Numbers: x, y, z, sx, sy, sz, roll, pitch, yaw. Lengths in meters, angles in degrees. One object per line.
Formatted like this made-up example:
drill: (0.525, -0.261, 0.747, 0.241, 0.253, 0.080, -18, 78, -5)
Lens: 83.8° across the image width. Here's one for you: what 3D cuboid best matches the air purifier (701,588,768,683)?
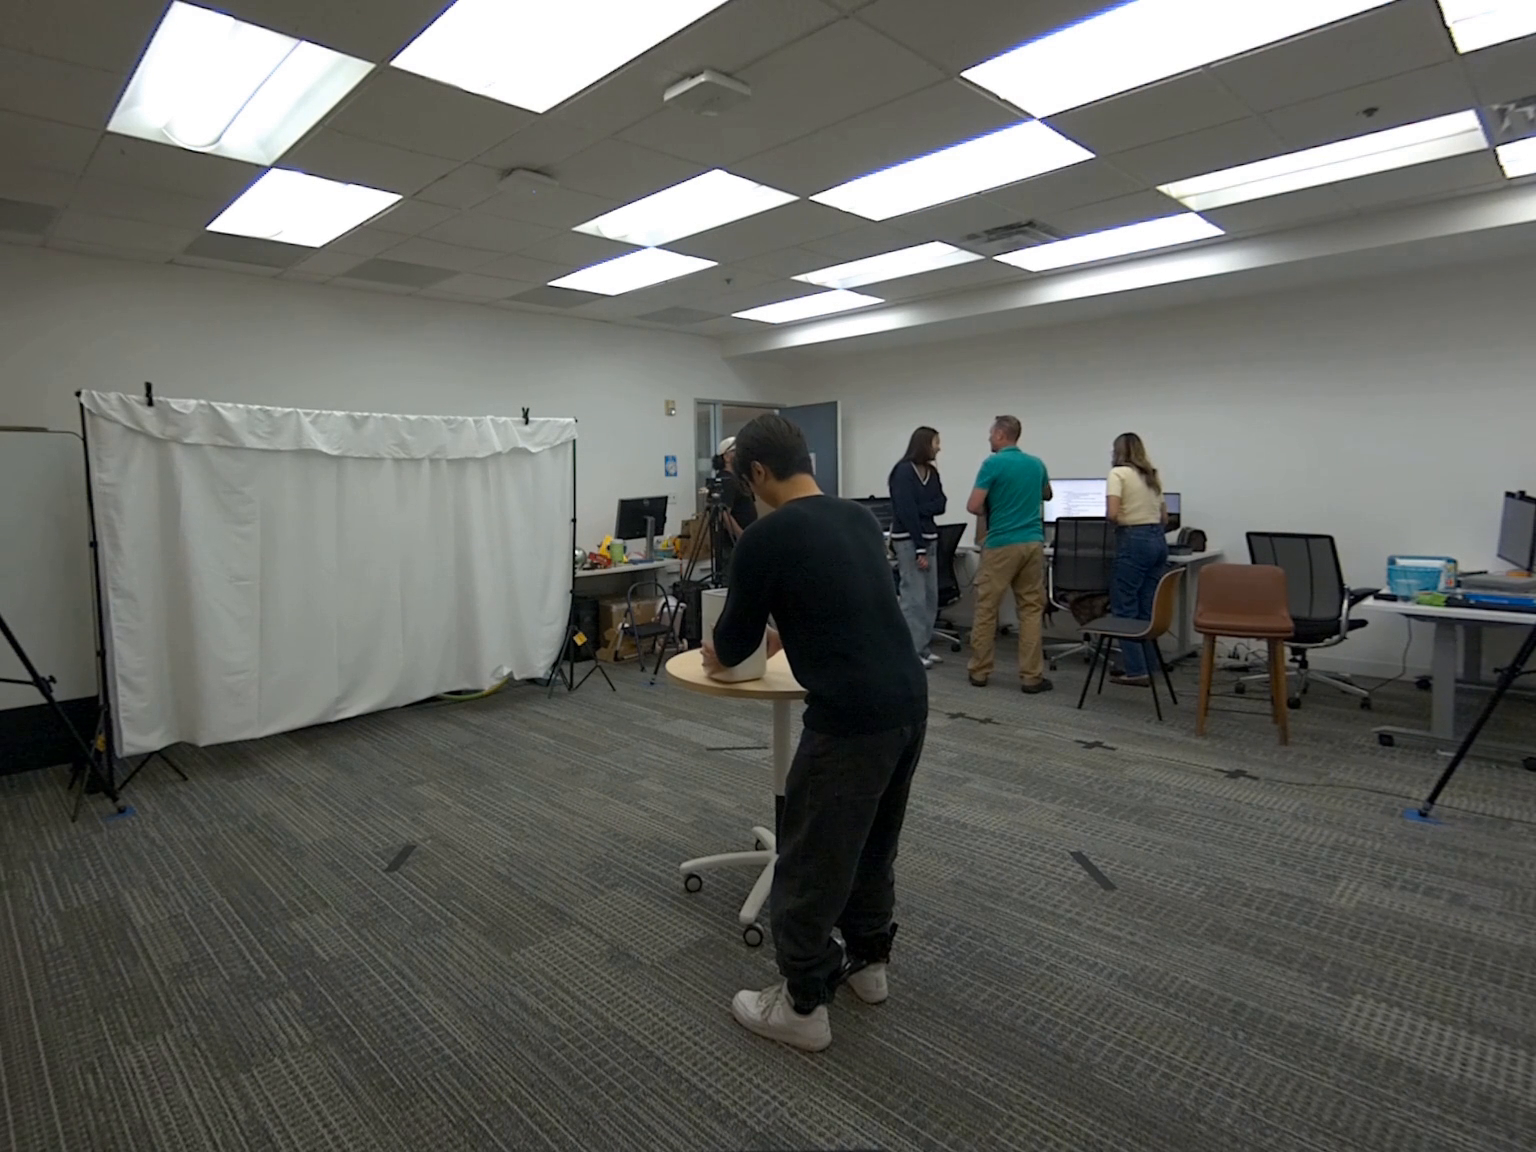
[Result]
air purifier: (-0.100, 0.179, 2.625, 0.167, 0.264, 0.176, -4, 5, -34)
